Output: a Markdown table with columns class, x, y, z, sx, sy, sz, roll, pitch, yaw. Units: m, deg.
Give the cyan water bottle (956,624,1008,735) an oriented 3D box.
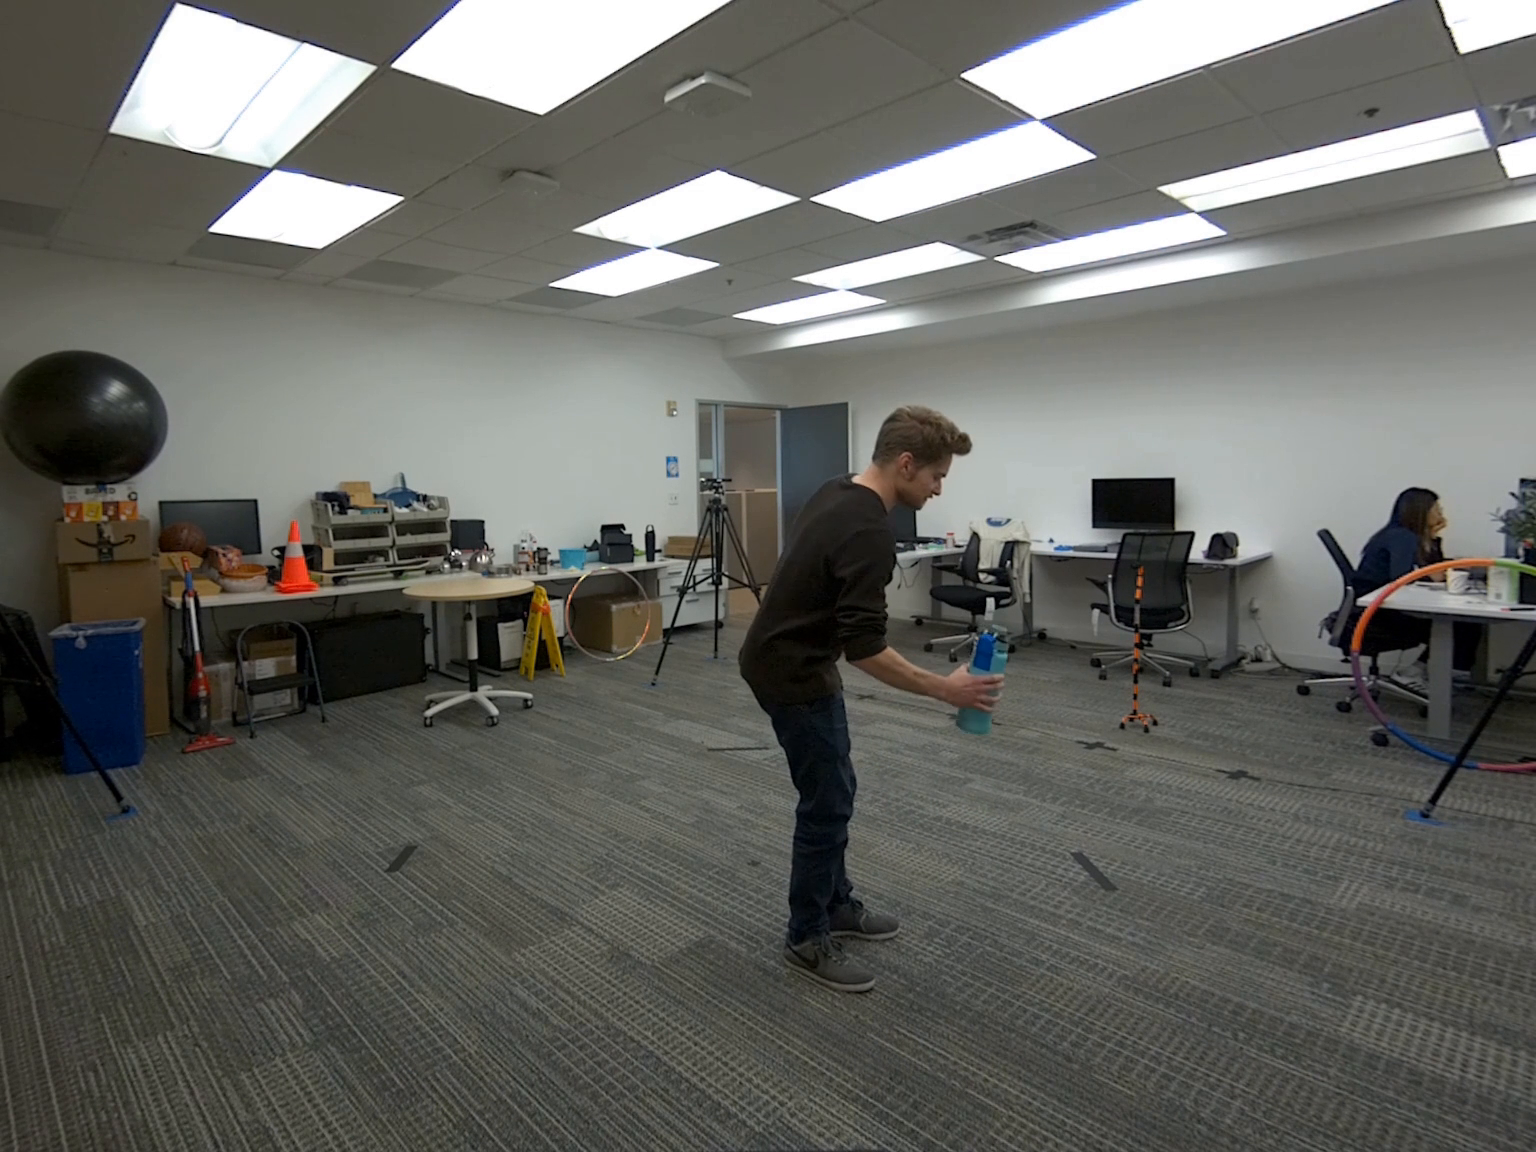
| class | x | y | z | sx | sy | sz | roll | pitch | yaw |
| --- | --- | --- | --- | --- | --- | --- | --- | --- | --- |
| cyan water bottle | 0.571 | 0.280 | 2.241 | 0.092 | 0.281 | 0.093 | 11 | 10 | -4 |
